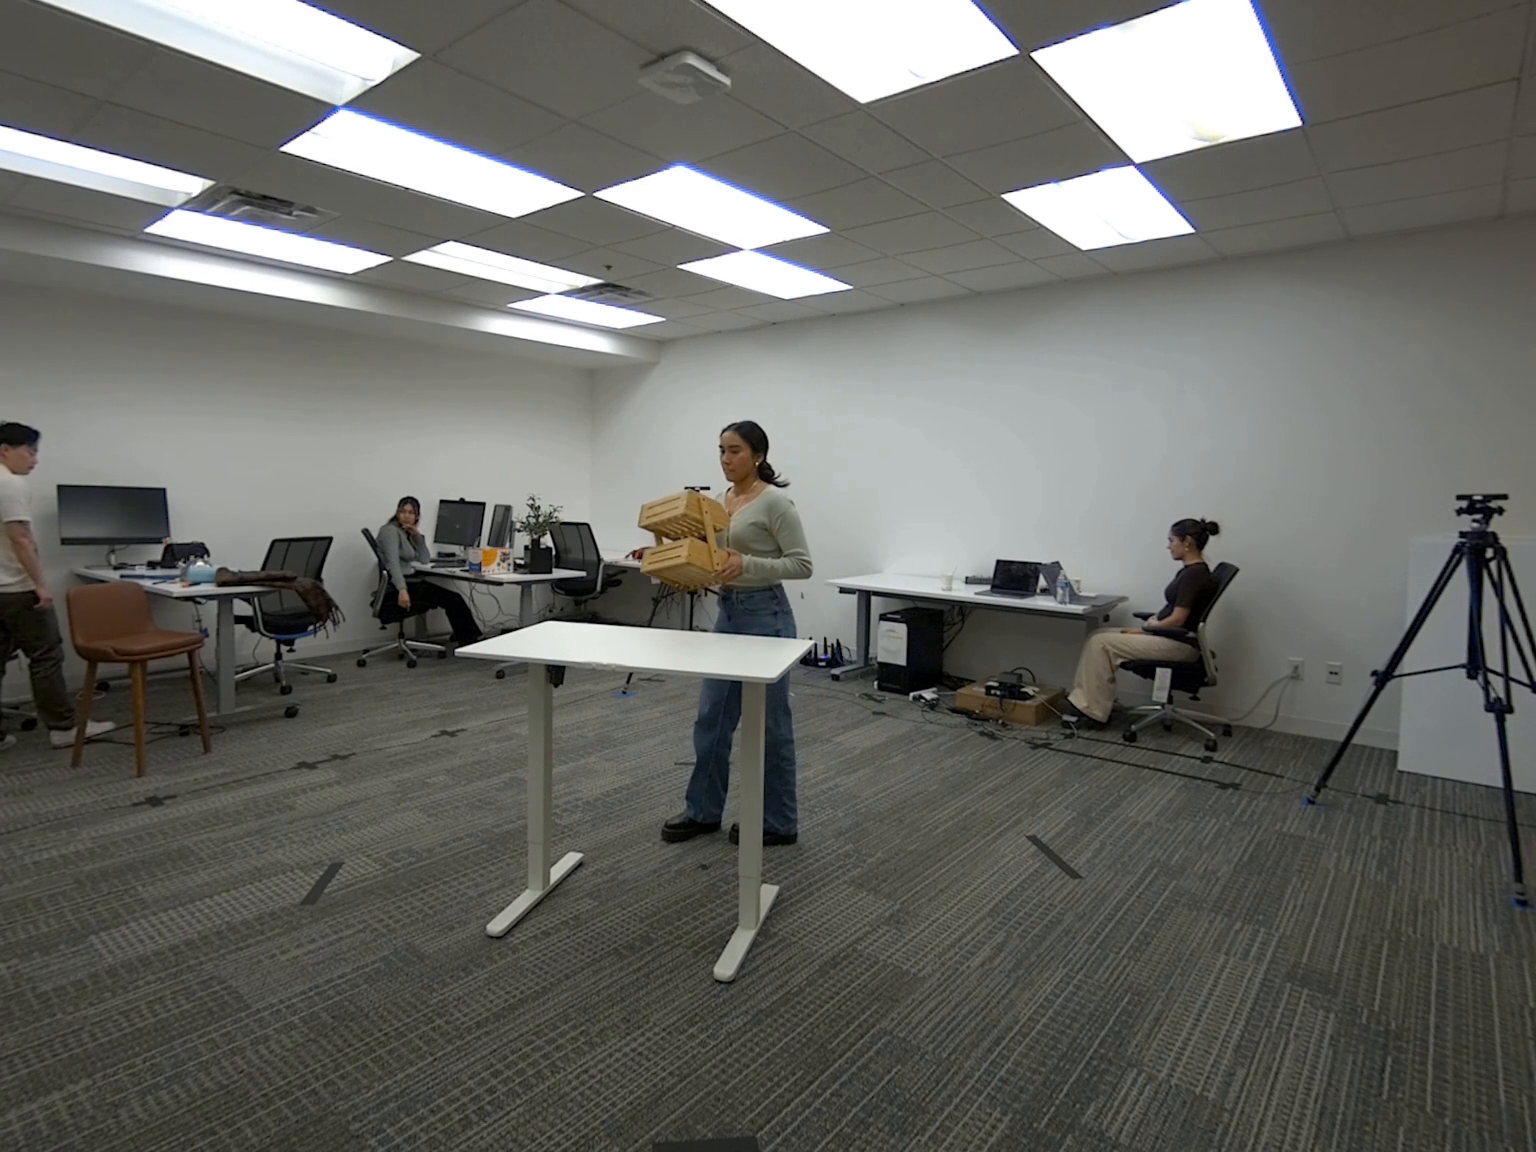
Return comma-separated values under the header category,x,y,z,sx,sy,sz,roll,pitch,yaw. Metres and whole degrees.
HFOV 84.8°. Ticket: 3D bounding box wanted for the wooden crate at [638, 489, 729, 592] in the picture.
category,x,y,z,sx,sy,sz,roll,pitch,yaw
wooden crate,-0.300,-0.132,3.198,0.291,0.277,0.332,24,-23,-36
